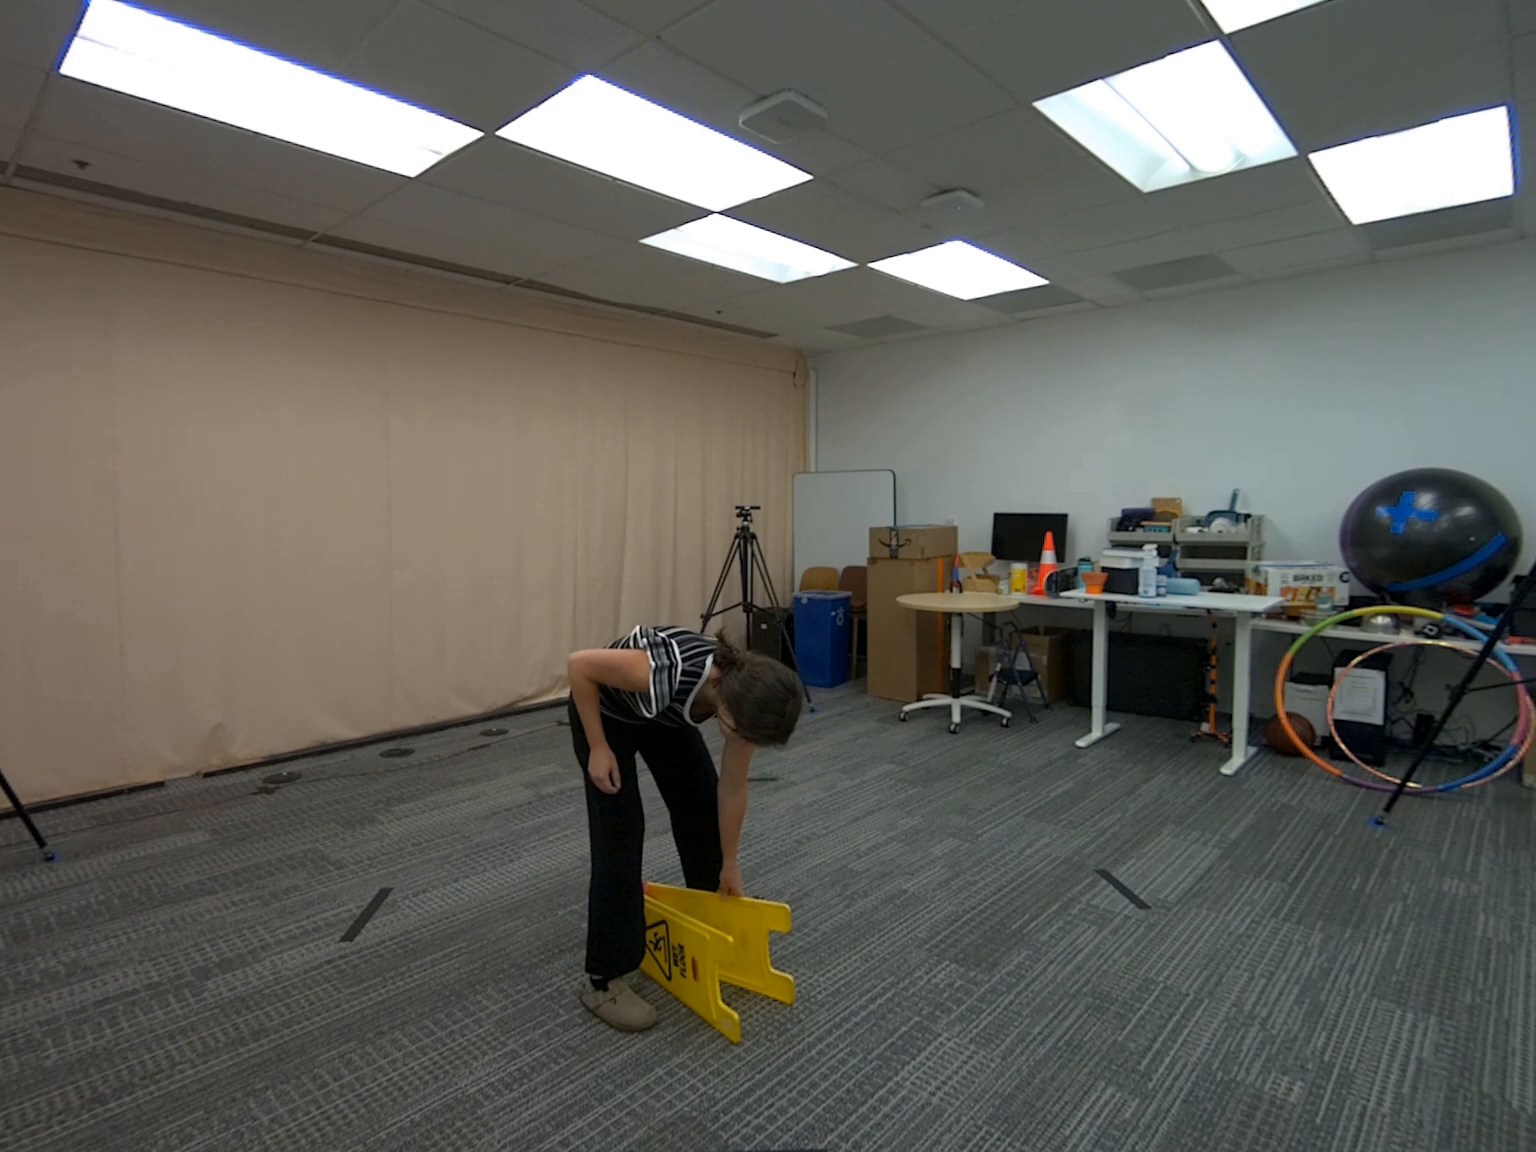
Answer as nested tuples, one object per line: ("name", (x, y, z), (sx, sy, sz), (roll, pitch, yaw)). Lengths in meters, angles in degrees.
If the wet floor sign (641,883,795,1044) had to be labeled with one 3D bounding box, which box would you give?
("wet floor sign", (-0.263, 1.066, 2.467), (0.667, 0.282, 0.281), (0, 3, 41))
